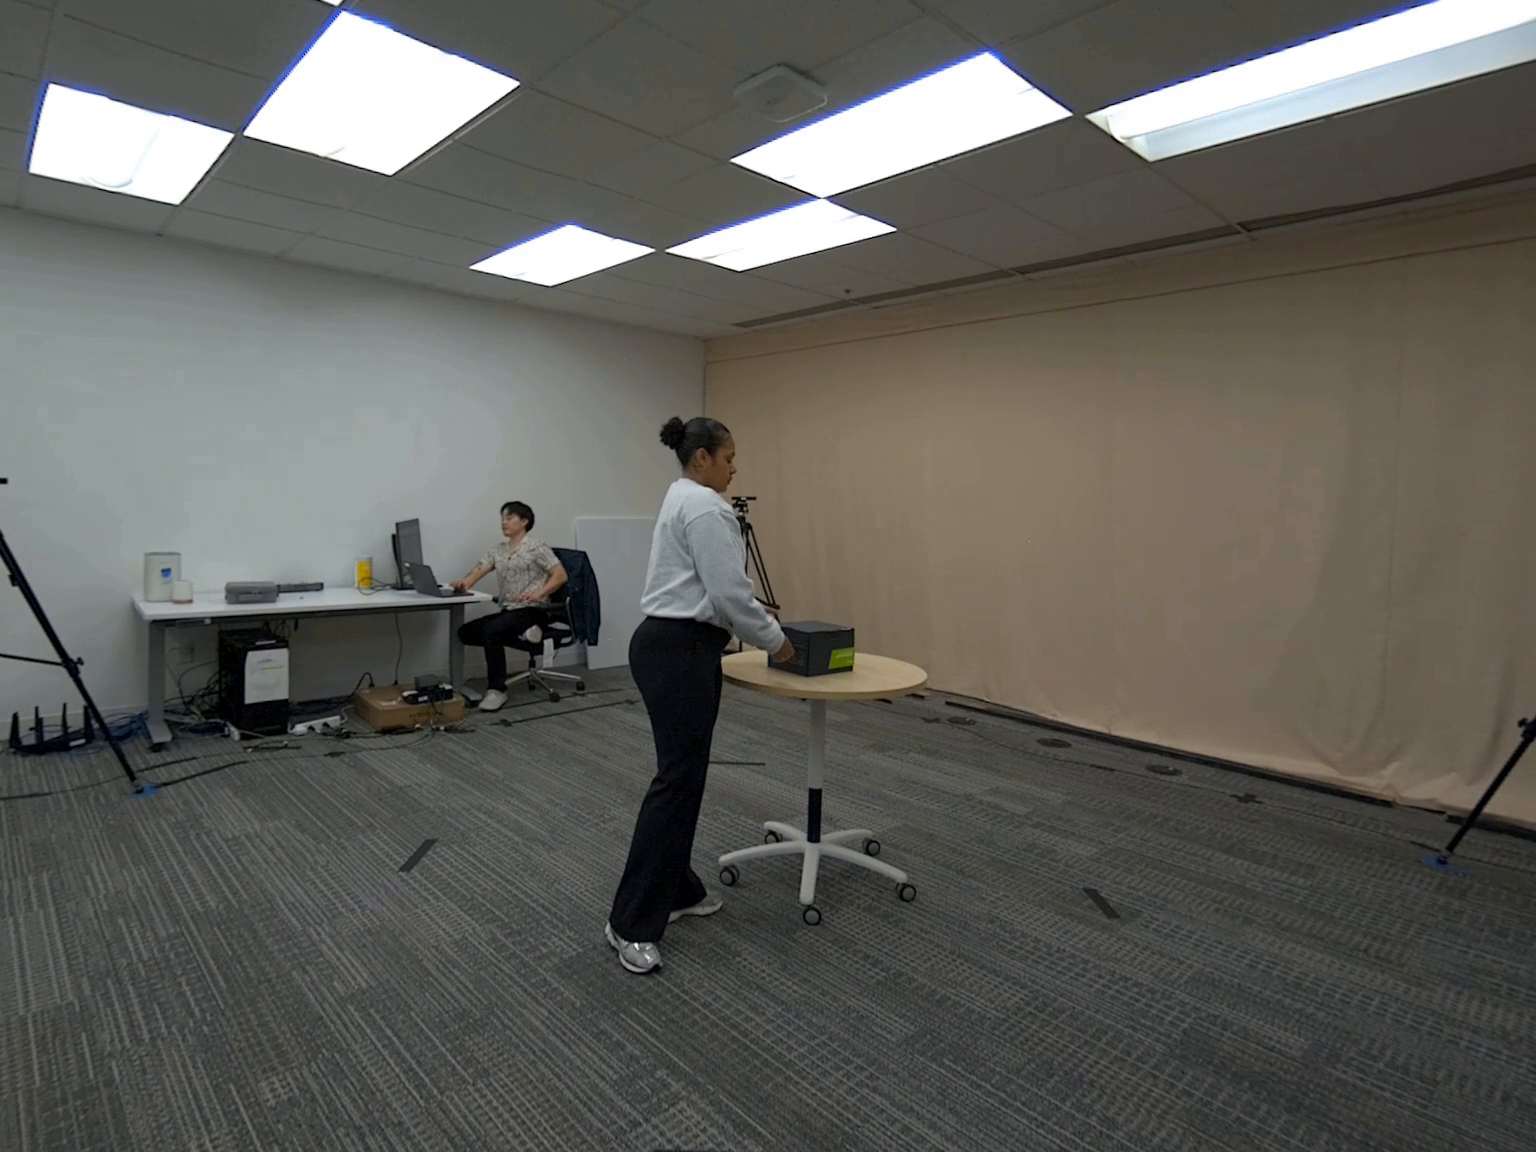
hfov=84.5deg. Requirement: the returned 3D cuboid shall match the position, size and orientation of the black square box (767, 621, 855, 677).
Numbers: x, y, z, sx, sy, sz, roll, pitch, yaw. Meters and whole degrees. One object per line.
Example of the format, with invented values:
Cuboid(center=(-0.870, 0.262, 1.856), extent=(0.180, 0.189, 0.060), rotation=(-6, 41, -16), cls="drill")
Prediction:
Cuboid(center=(0.150, 0.255, 3.031), extent=(0.223, 0.155, 0.222), rotation=(-1, 5, -39), cls="black square box")
